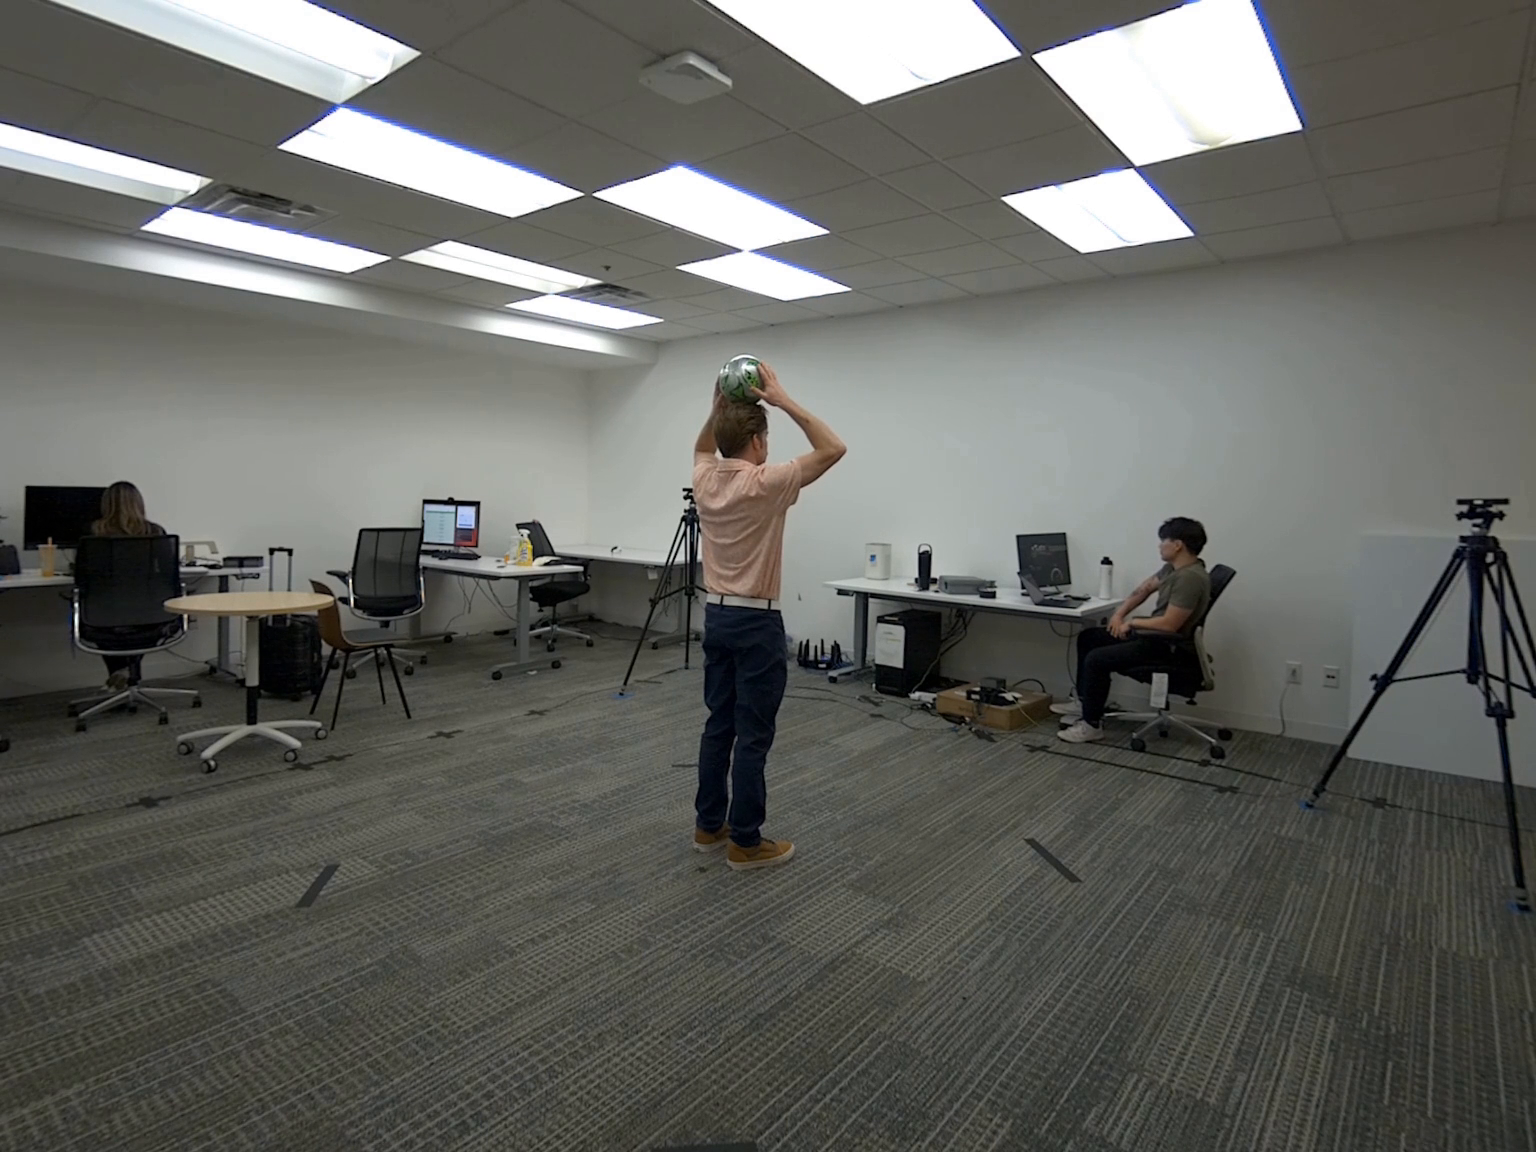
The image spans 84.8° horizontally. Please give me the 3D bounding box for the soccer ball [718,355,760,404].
[{"bbox_3d":[-0.107,-0.727,3.185,0.187,0.187,0.188,1,4,-2],"label":"soccer ball"}]
